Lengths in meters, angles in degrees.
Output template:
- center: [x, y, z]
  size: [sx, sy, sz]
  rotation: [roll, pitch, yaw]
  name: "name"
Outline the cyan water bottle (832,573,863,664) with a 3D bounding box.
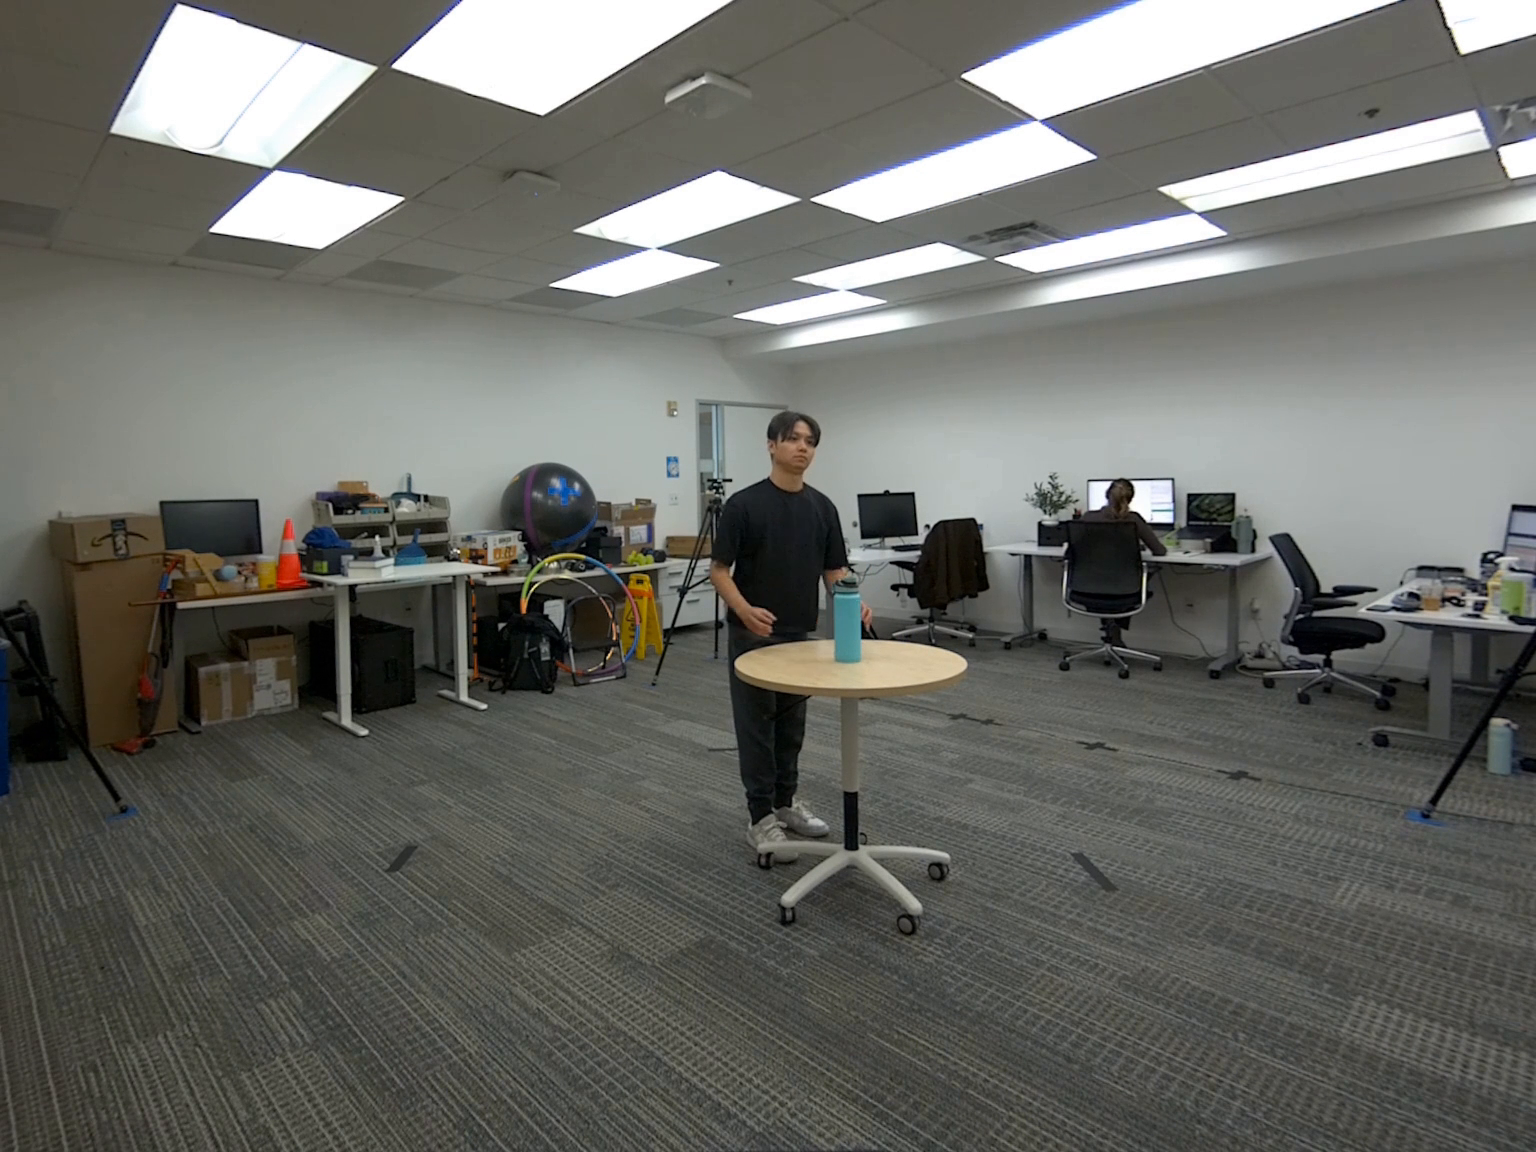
- center: [0.269, 0.148, 2.868]
  size: [0.092, 0.283, 0.092]
  rotation: [-3, 2, -2]
  name: "cyan water bottle"
